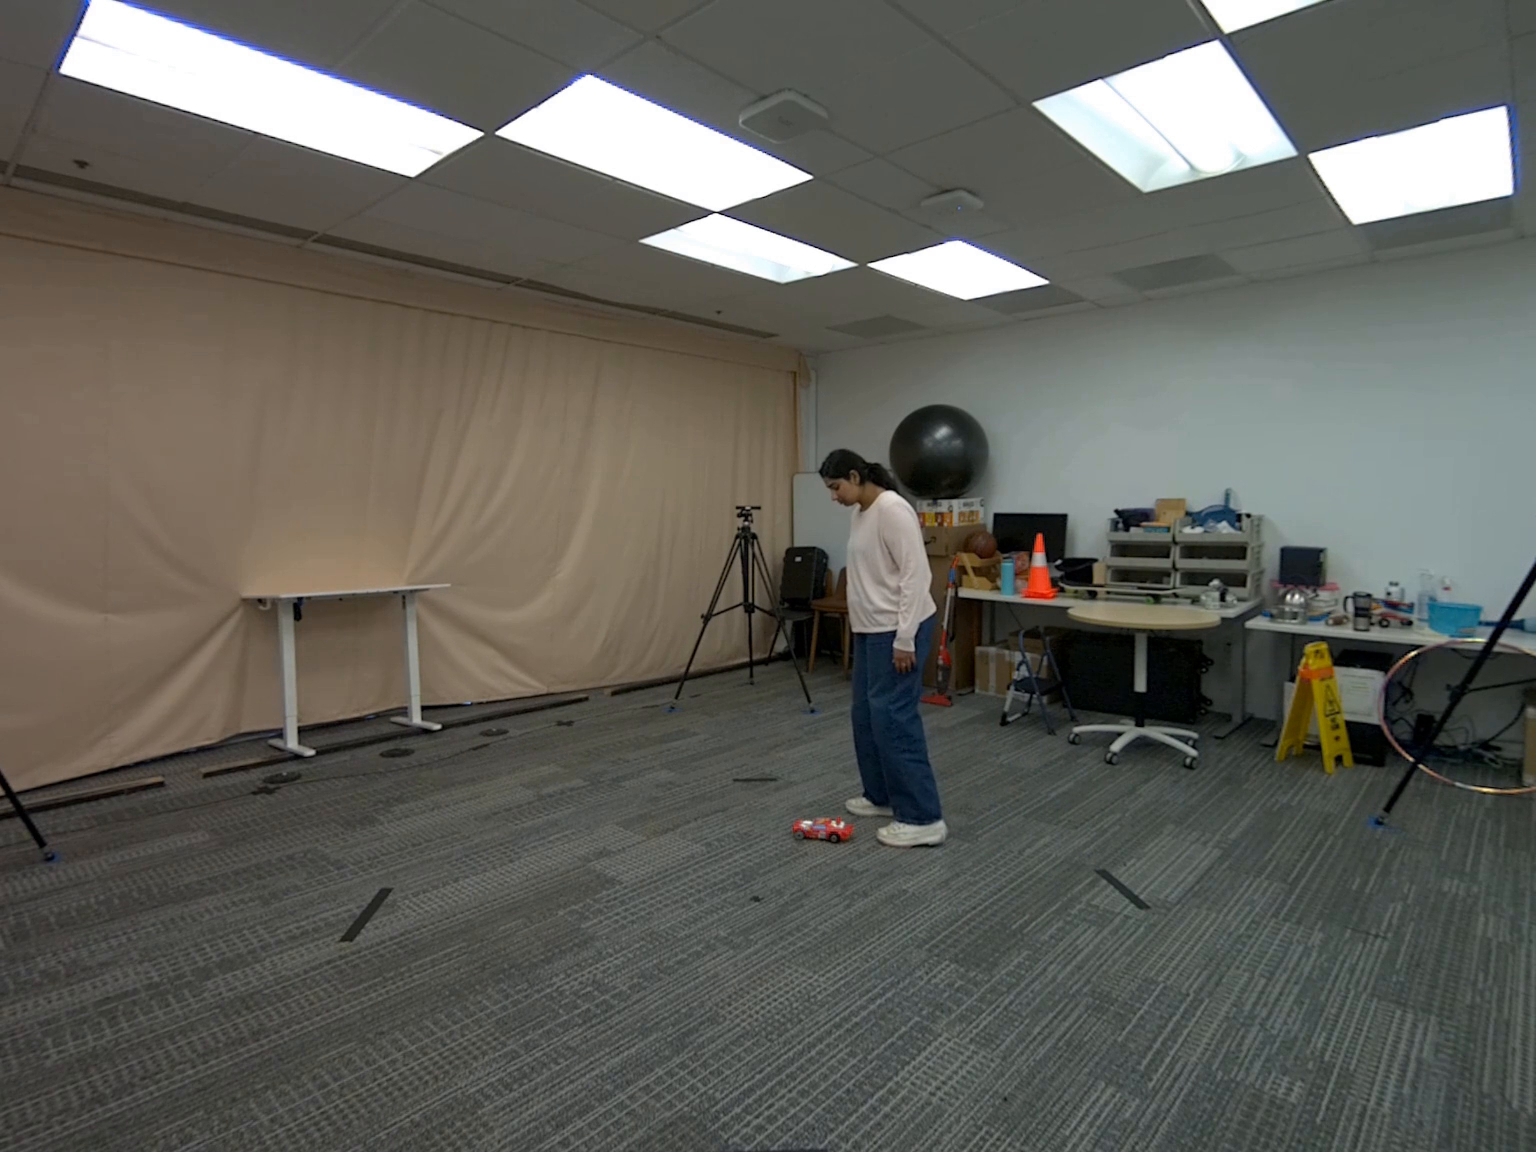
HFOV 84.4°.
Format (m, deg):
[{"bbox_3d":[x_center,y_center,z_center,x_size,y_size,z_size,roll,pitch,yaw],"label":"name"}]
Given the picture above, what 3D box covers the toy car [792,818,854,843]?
[{"bbox_3d":[0.242,1.073,3.538,0.258,0.083,0.128,-11,2,14],"label":"toy car"}]
